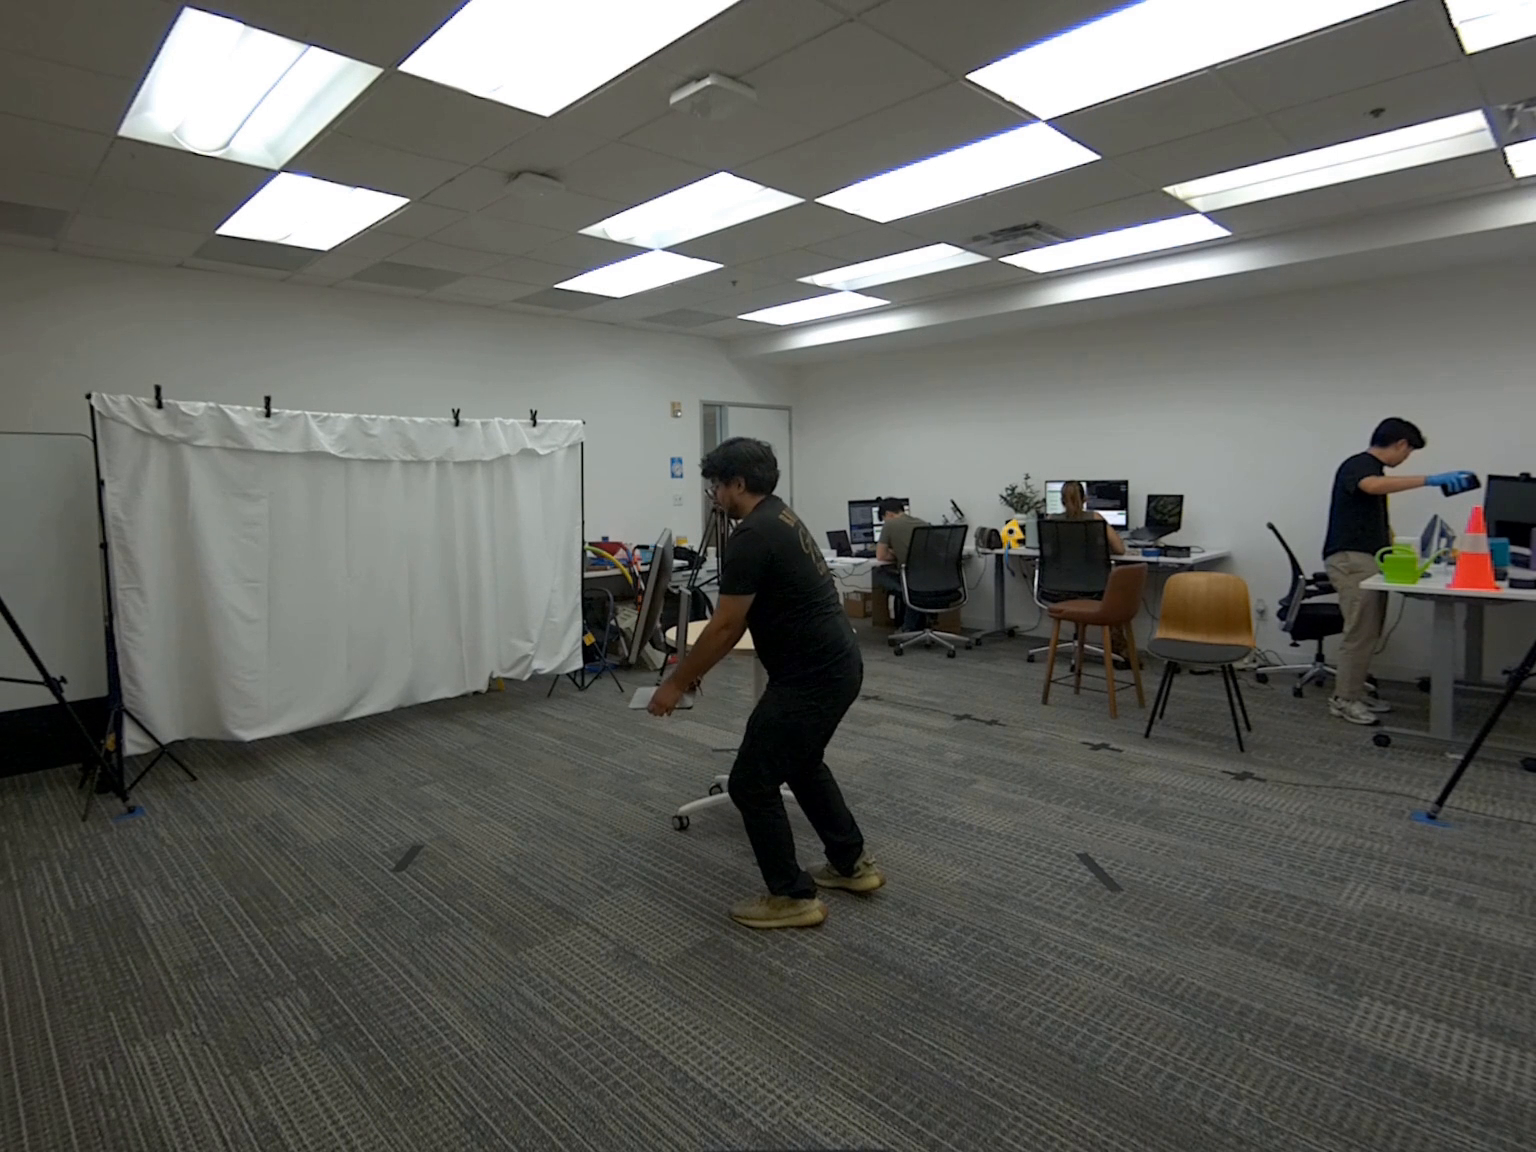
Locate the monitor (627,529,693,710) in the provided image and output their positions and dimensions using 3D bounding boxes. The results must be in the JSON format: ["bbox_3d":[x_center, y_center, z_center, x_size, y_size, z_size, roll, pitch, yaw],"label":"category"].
[{"bbox_3d":[-0.311,0.141,2.779,0.209,0.551,0.570,6,7,-4],"label":"monitor"}]
